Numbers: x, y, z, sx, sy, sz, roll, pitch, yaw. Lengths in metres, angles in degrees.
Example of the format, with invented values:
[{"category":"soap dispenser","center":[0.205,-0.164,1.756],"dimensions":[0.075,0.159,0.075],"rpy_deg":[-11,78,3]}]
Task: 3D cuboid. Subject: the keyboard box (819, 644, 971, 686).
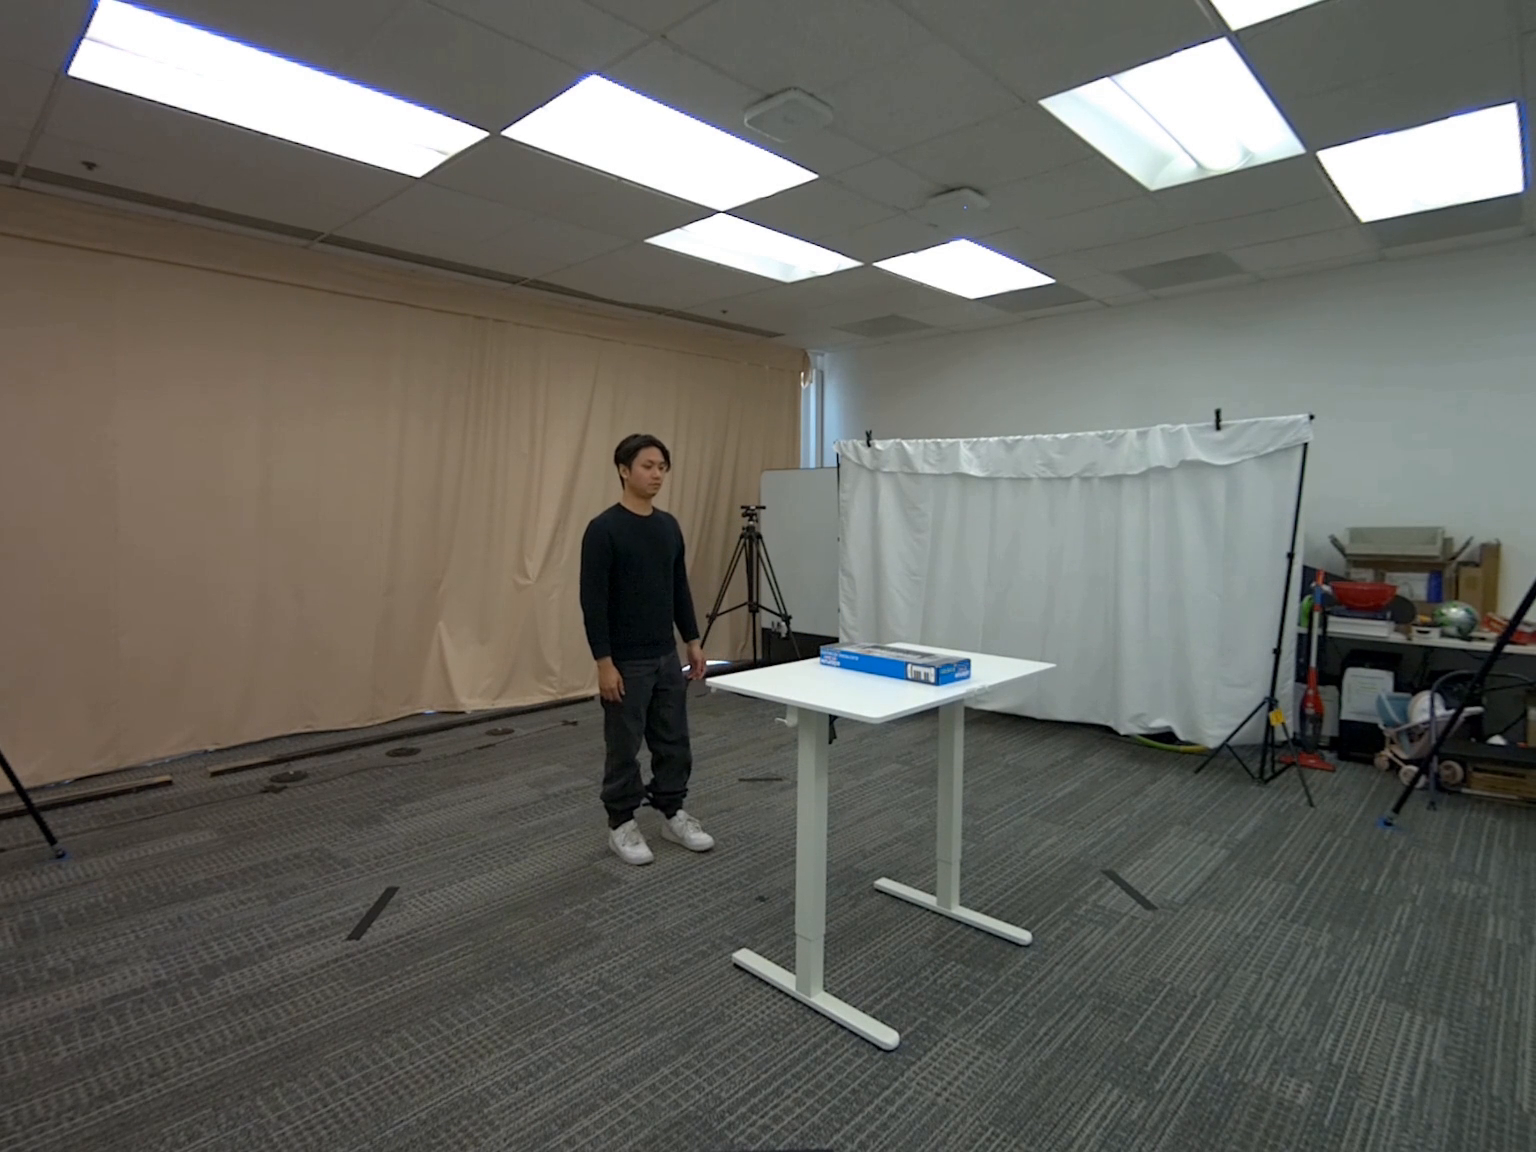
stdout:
[{"category":"keyboard box","center":[0.391,0.265,2.577],"dimensions":[0.170,0.059,0.451],"rpy_deg":[-5,7,-44]}]
